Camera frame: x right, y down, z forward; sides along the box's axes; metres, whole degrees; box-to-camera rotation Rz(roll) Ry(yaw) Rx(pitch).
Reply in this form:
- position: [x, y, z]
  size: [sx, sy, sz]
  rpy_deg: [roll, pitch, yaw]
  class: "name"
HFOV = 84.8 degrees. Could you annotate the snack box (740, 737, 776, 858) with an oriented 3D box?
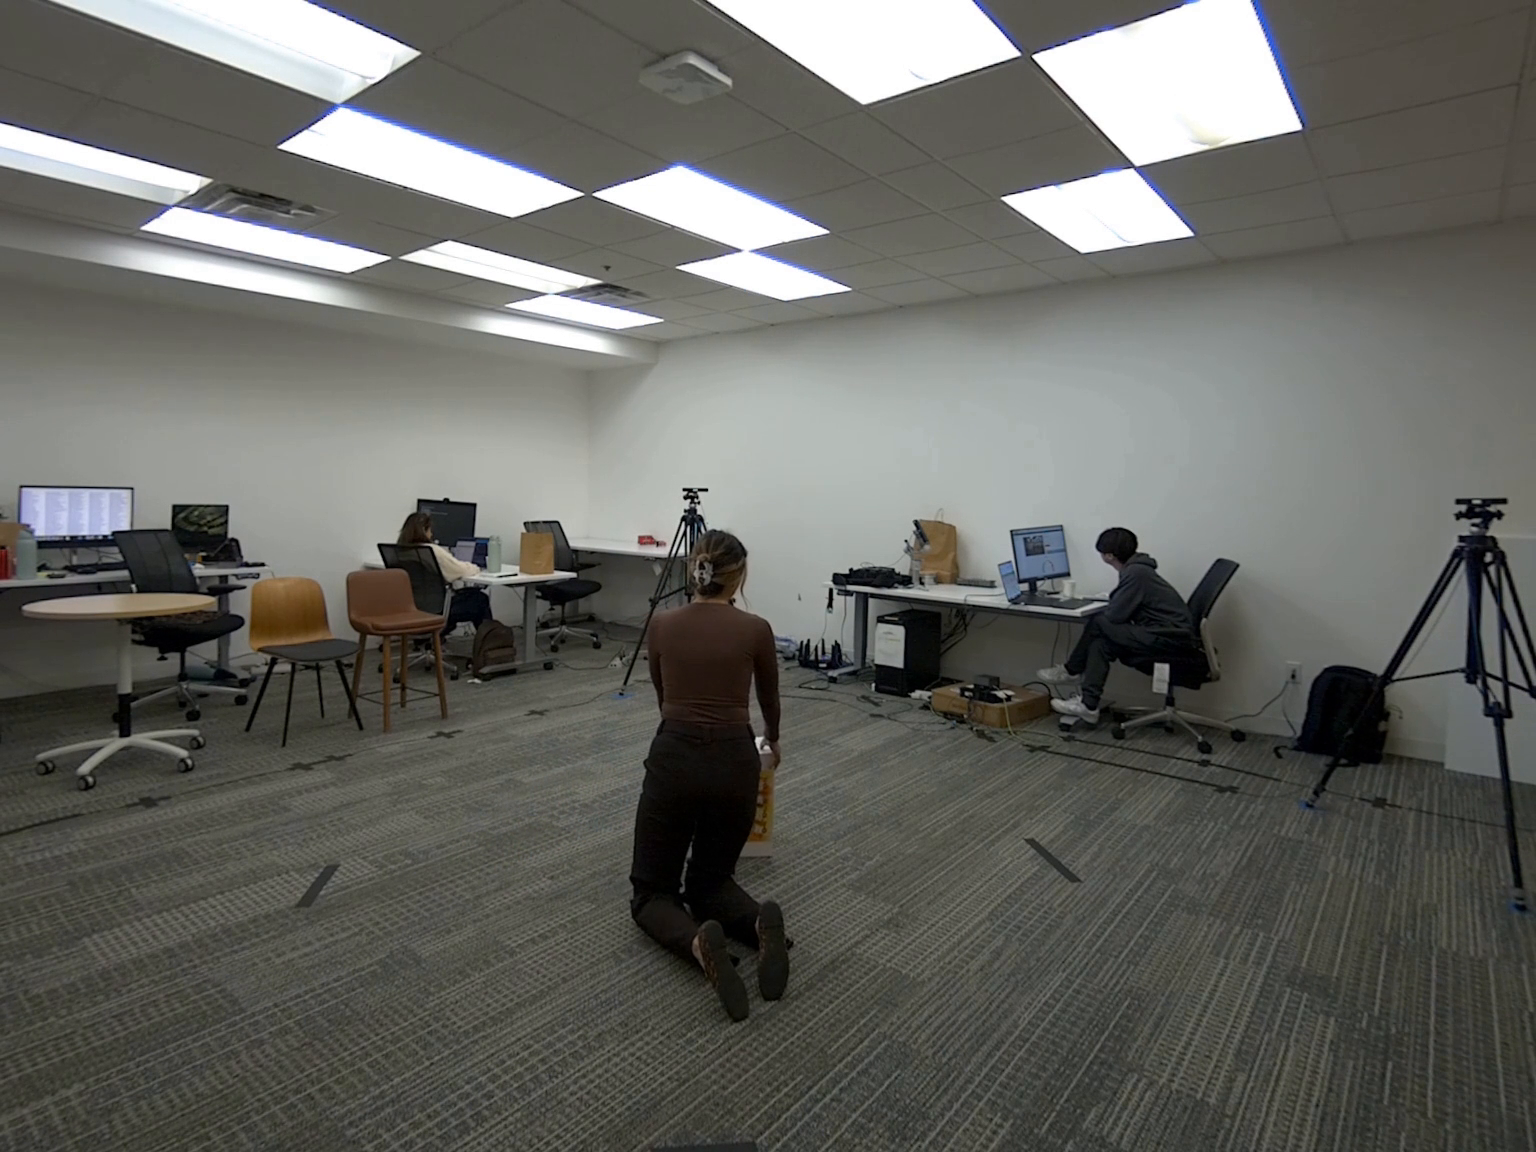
- position: [-0.166, 0.847, 3.294]
  size: [0.338, 0.404, 0.208]
  rpy_deg: [0, 4, -6]
  class: "snack box"
